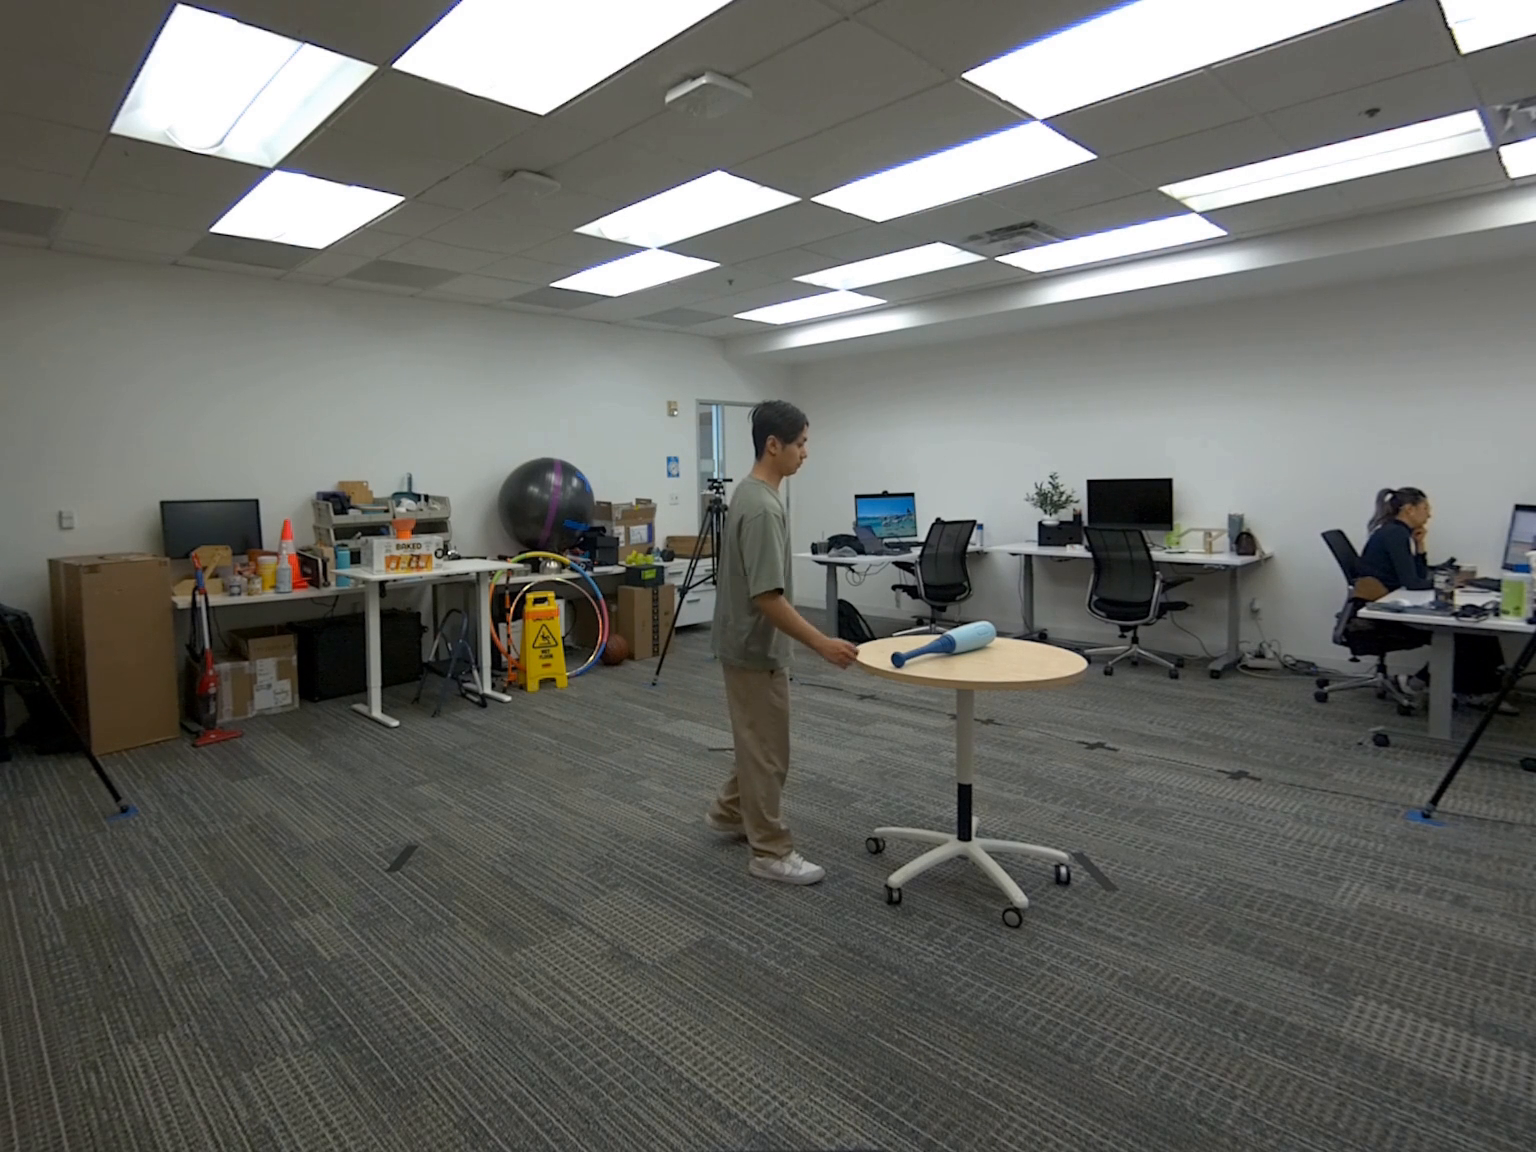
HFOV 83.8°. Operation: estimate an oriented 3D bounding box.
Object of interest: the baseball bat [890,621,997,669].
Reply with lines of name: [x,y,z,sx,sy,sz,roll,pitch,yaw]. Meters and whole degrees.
baseball bat: [0.595,0.232,2.899,0.529,0.088,0.092,-9,9,-42]
